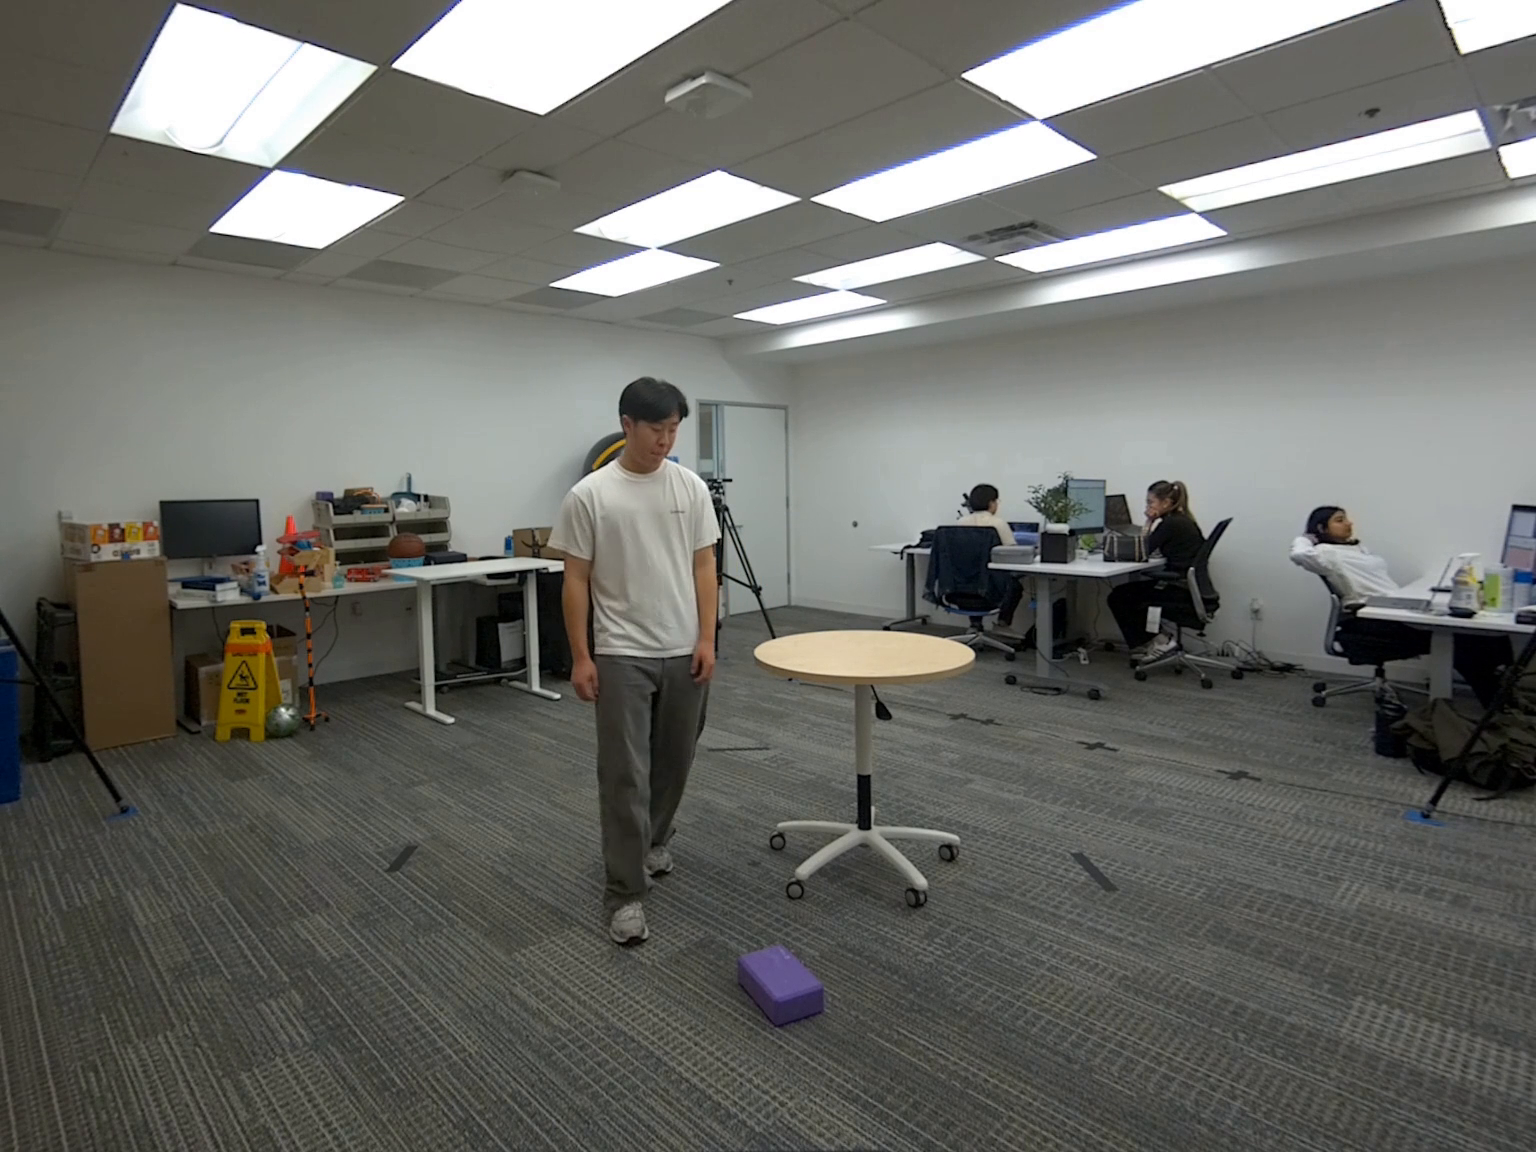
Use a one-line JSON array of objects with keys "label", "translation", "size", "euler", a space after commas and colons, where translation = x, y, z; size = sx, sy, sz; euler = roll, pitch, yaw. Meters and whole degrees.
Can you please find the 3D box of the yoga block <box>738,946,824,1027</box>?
[{"label": "yoga block", "translation": [0.038, 1.101, 2.307], "size": [0.146, 0.076, 0.235], "euler": [-4, 7, -27]}]
